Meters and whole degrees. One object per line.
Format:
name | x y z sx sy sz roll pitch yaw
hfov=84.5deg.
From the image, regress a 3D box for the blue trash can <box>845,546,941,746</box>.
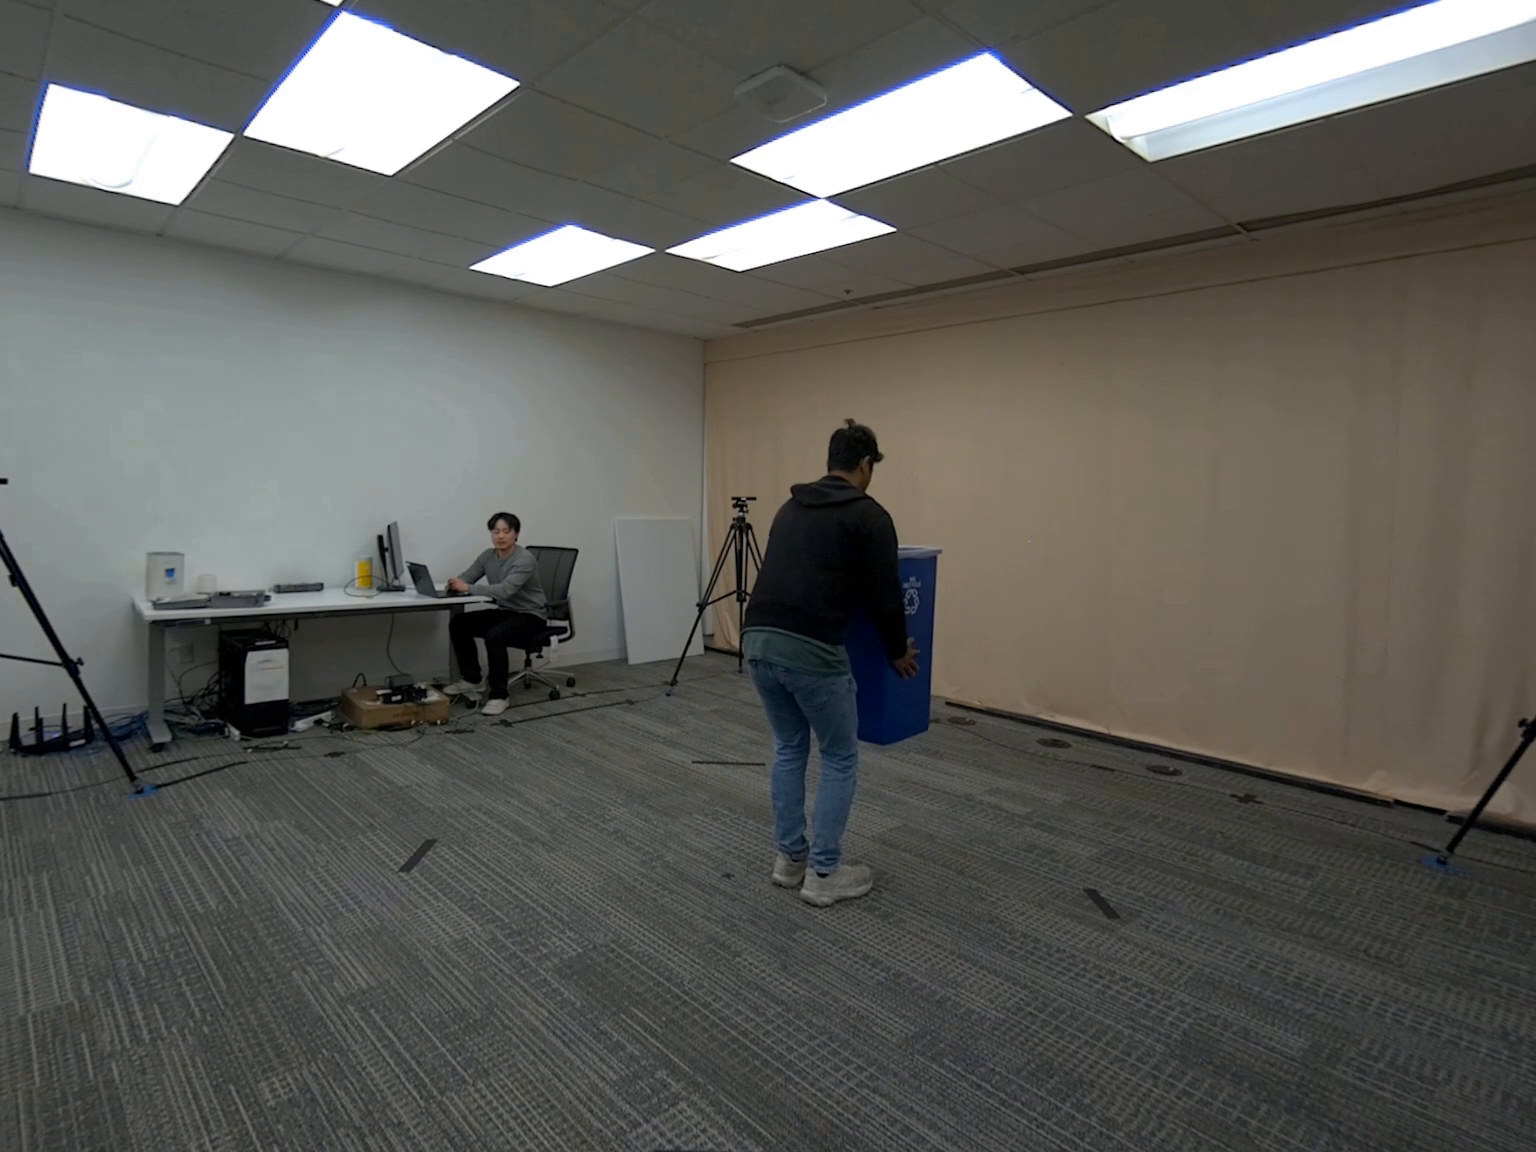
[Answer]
blue trash can | 0.420 0.257 3.260 0.388 0.711 0.366 6 7 43
